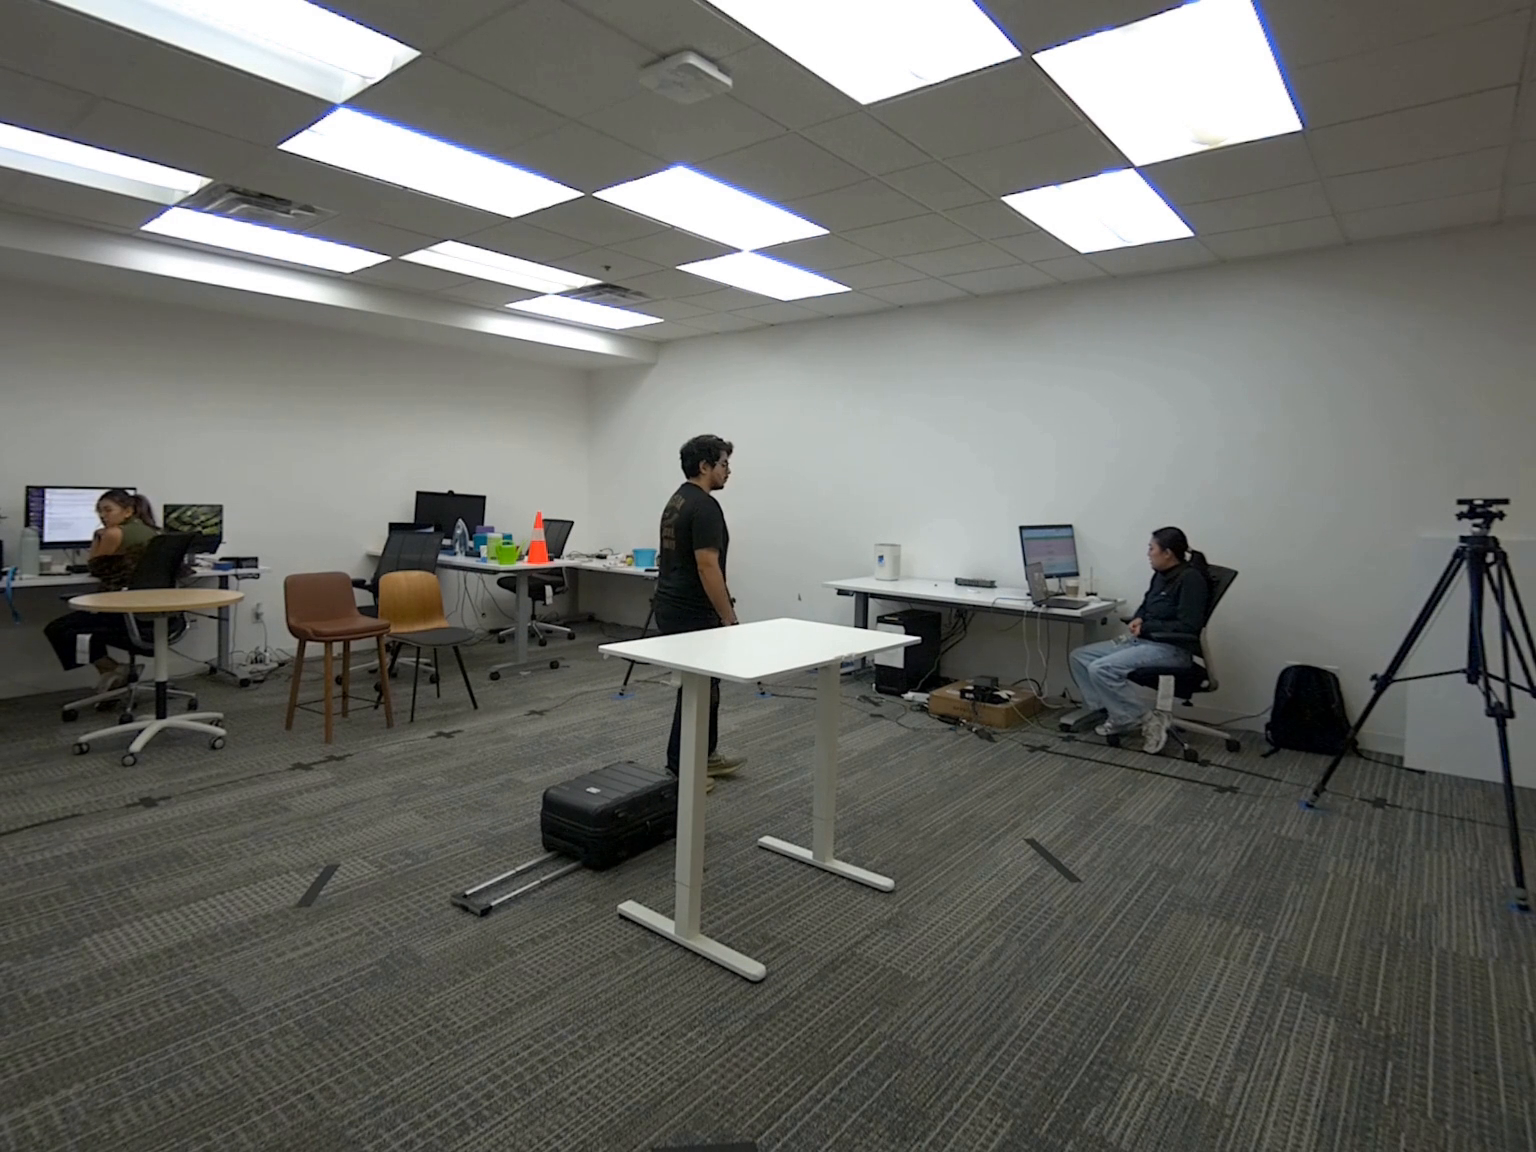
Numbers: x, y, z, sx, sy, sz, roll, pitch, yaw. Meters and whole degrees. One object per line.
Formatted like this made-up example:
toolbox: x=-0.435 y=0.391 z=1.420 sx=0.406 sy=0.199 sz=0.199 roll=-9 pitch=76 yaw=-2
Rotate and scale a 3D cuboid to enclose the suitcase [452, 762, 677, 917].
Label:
suitcase: x=-0.727 y=0.931 z=3.163 sx=0.396 sy=0.256 sz=0.950 roll=6 pitch=6 yaw=34
